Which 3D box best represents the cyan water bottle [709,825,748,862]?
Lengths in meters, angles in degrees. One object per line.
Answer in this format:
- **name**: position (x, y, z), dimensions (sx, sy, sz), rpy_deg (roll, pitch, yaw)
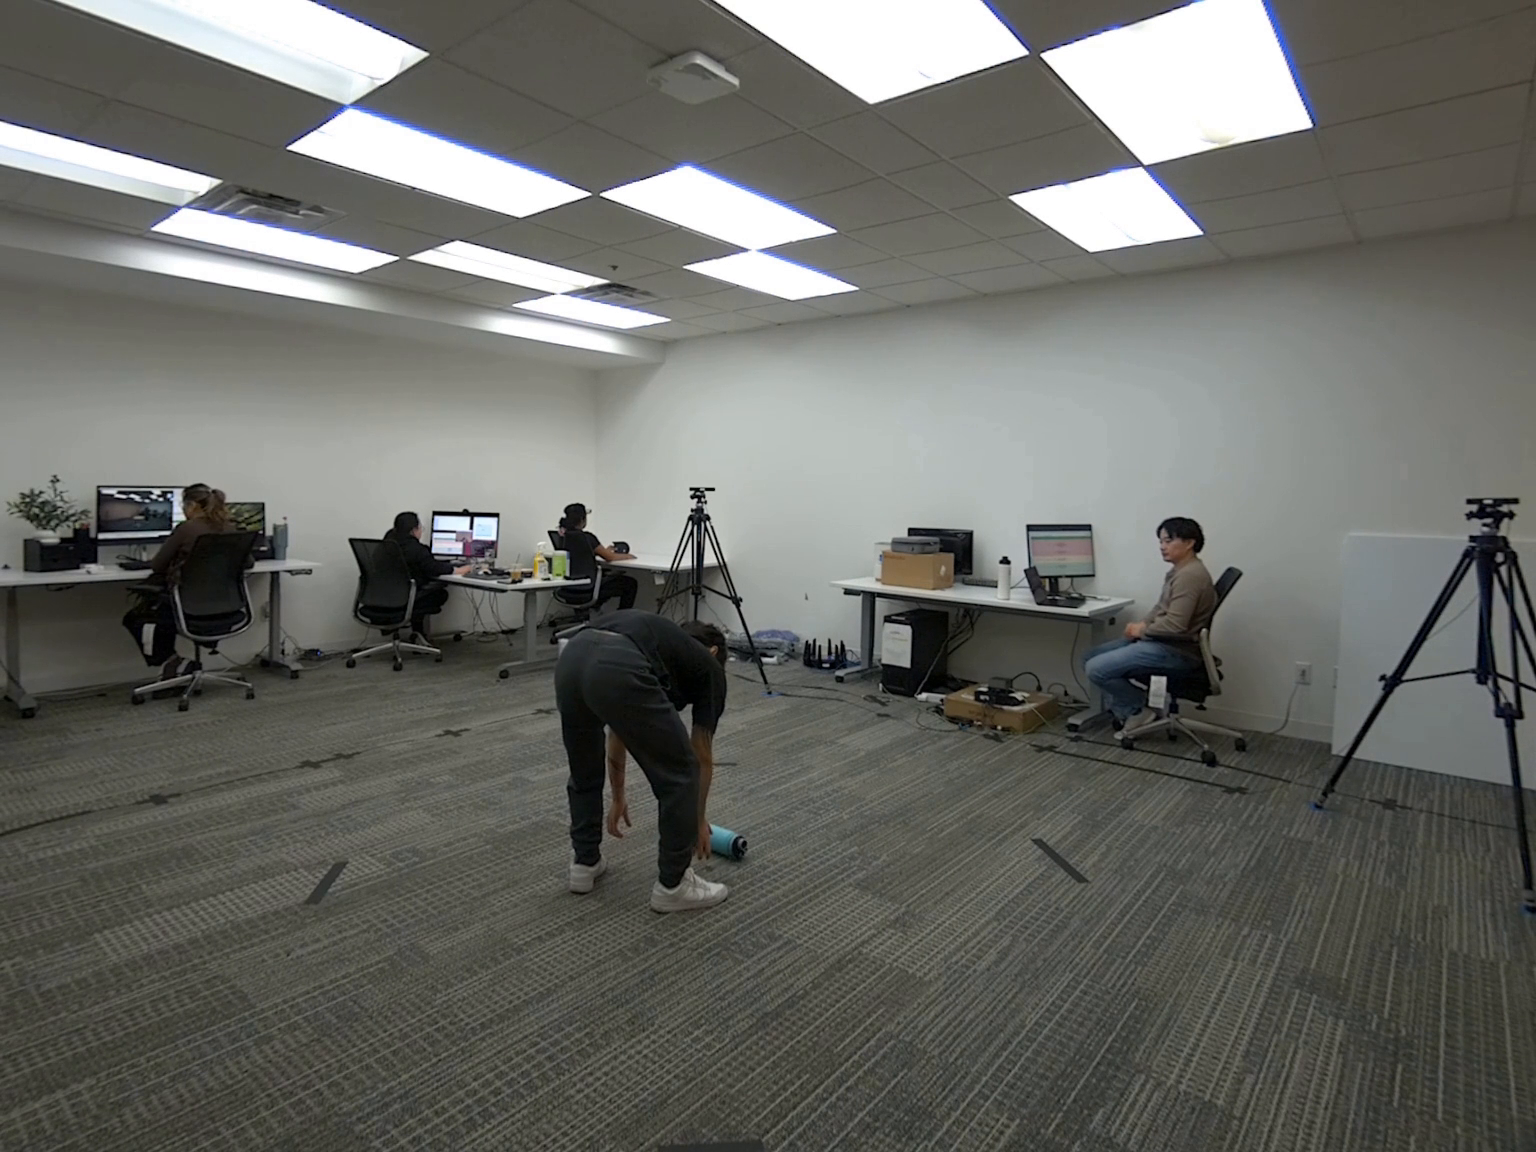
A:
- **cyan water bottle**: position (-0.210, 1.002, 3.259), dimensions (0.293, 0.092, 0.089), rpy_deg (5, 6, 38)
